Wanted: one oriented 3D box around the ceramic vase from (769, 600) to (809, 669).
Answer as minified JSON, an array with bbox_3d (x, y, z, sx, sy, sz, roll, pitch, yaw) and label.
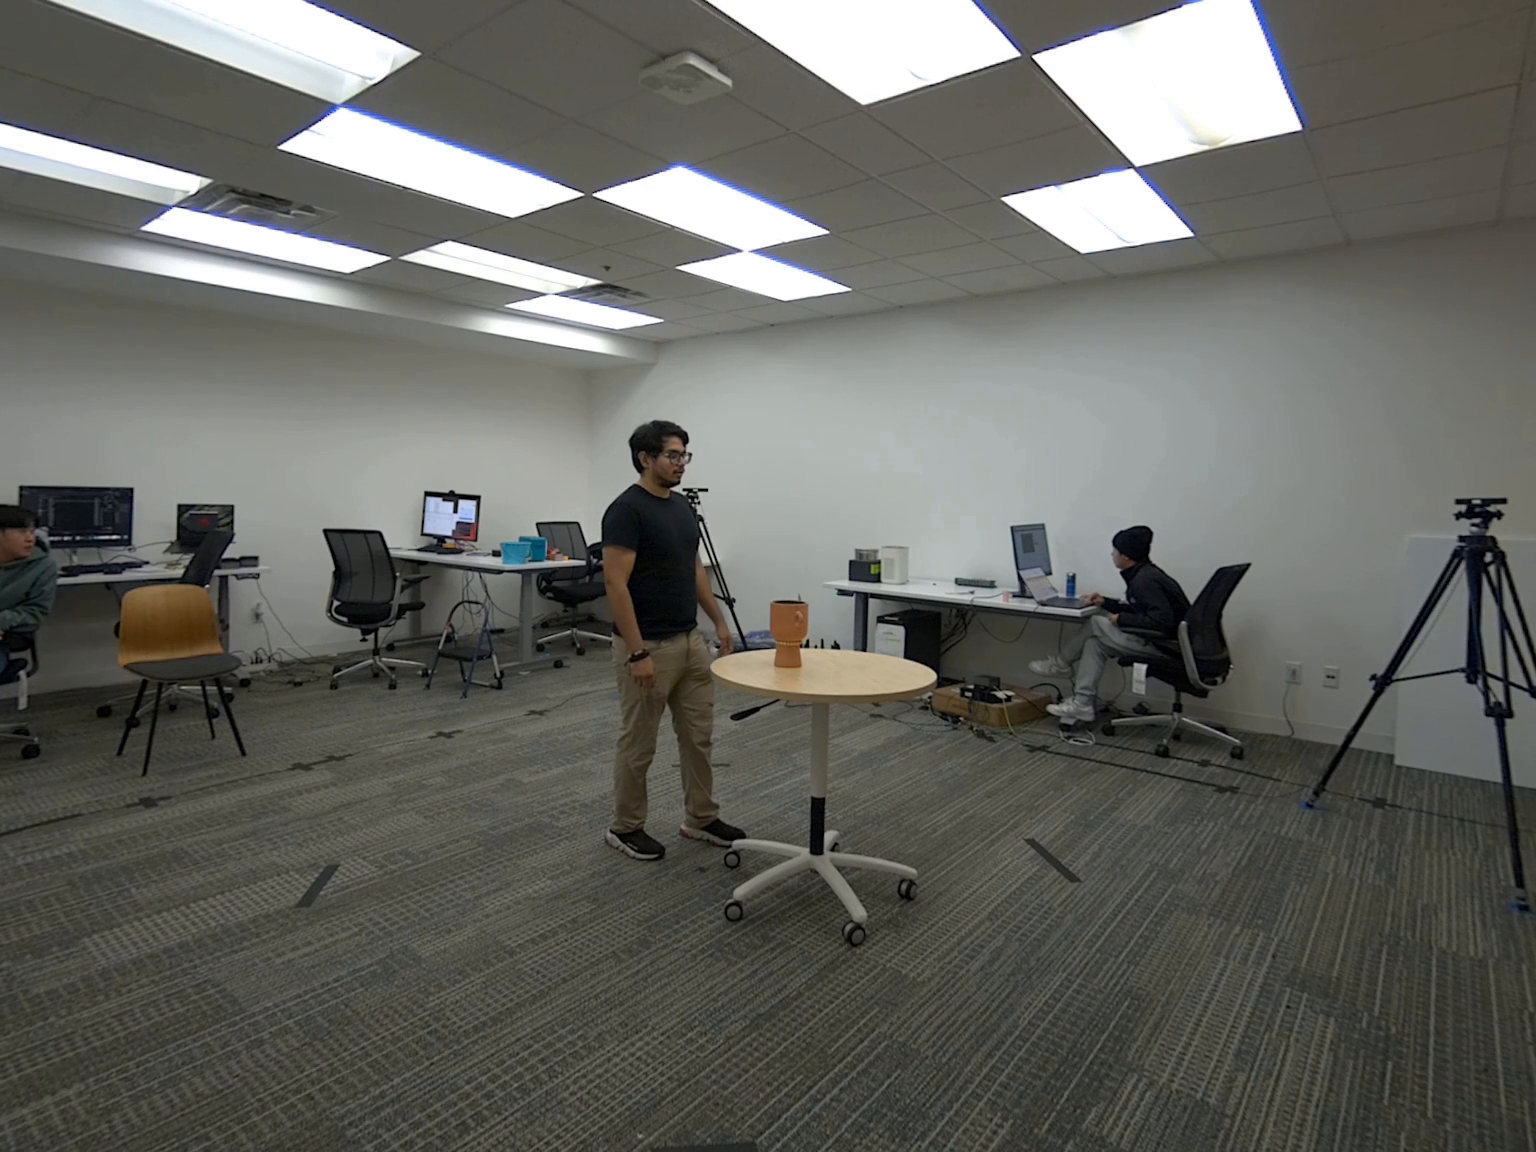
[{"bbox_3d":[0.064,0.202,2.959,0.137,0.219,0.156,1,3,16],"label":"ceramic vase"}]
